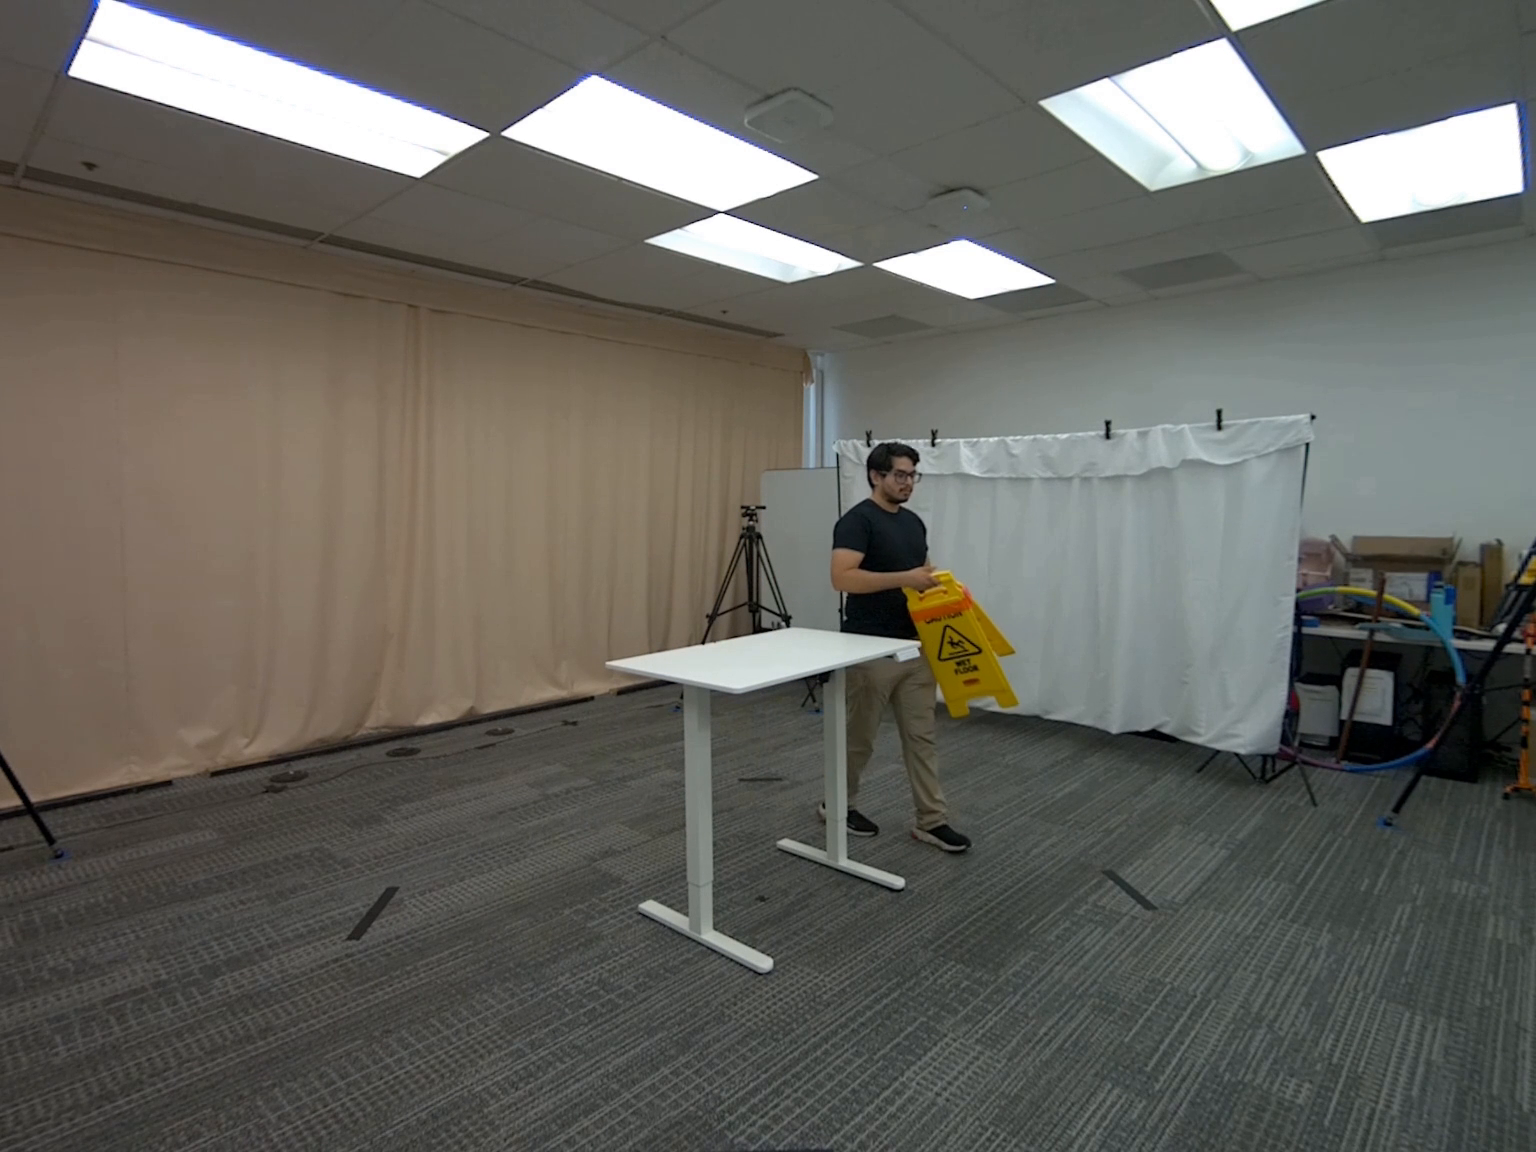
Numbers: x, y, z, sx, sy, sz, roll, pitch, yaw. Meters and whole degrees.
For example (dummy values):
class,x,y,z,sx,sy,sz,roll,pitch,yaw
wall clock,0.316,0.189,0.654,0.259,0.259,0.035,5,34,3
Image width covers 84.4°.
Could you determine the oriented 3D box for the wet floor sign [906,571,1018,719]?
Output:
class,x,y,z,sx,sy,sz,roll,pitch,yaw
wet floor sign,0.760,0.235,3.381,0.288,0.628,0.292,-19,33,28
